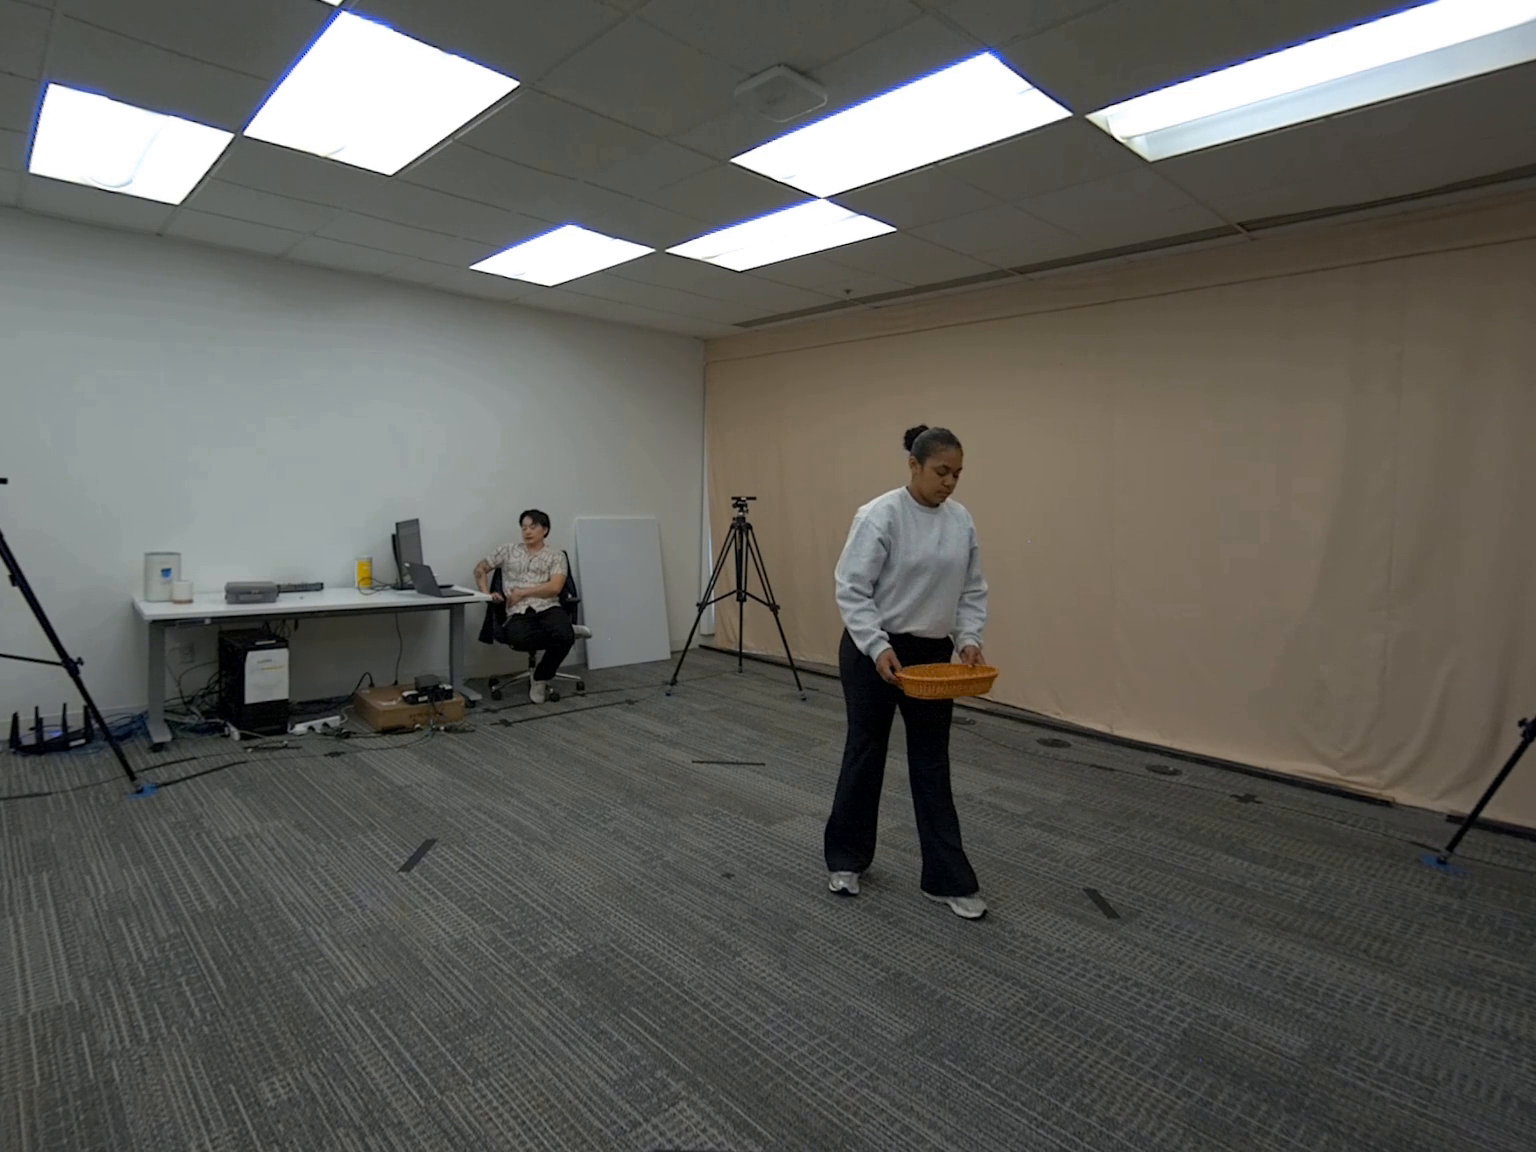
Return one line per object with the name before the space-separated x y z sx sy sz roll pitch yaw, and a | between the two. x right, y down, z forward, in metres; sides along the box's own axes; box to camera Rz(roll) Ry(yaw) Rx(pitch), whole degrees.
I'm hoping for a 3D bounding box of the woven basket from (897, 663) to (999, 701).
woven basket | 0.563 0.334 2.696 0.344 0.073 0.257 -5 4 -27
